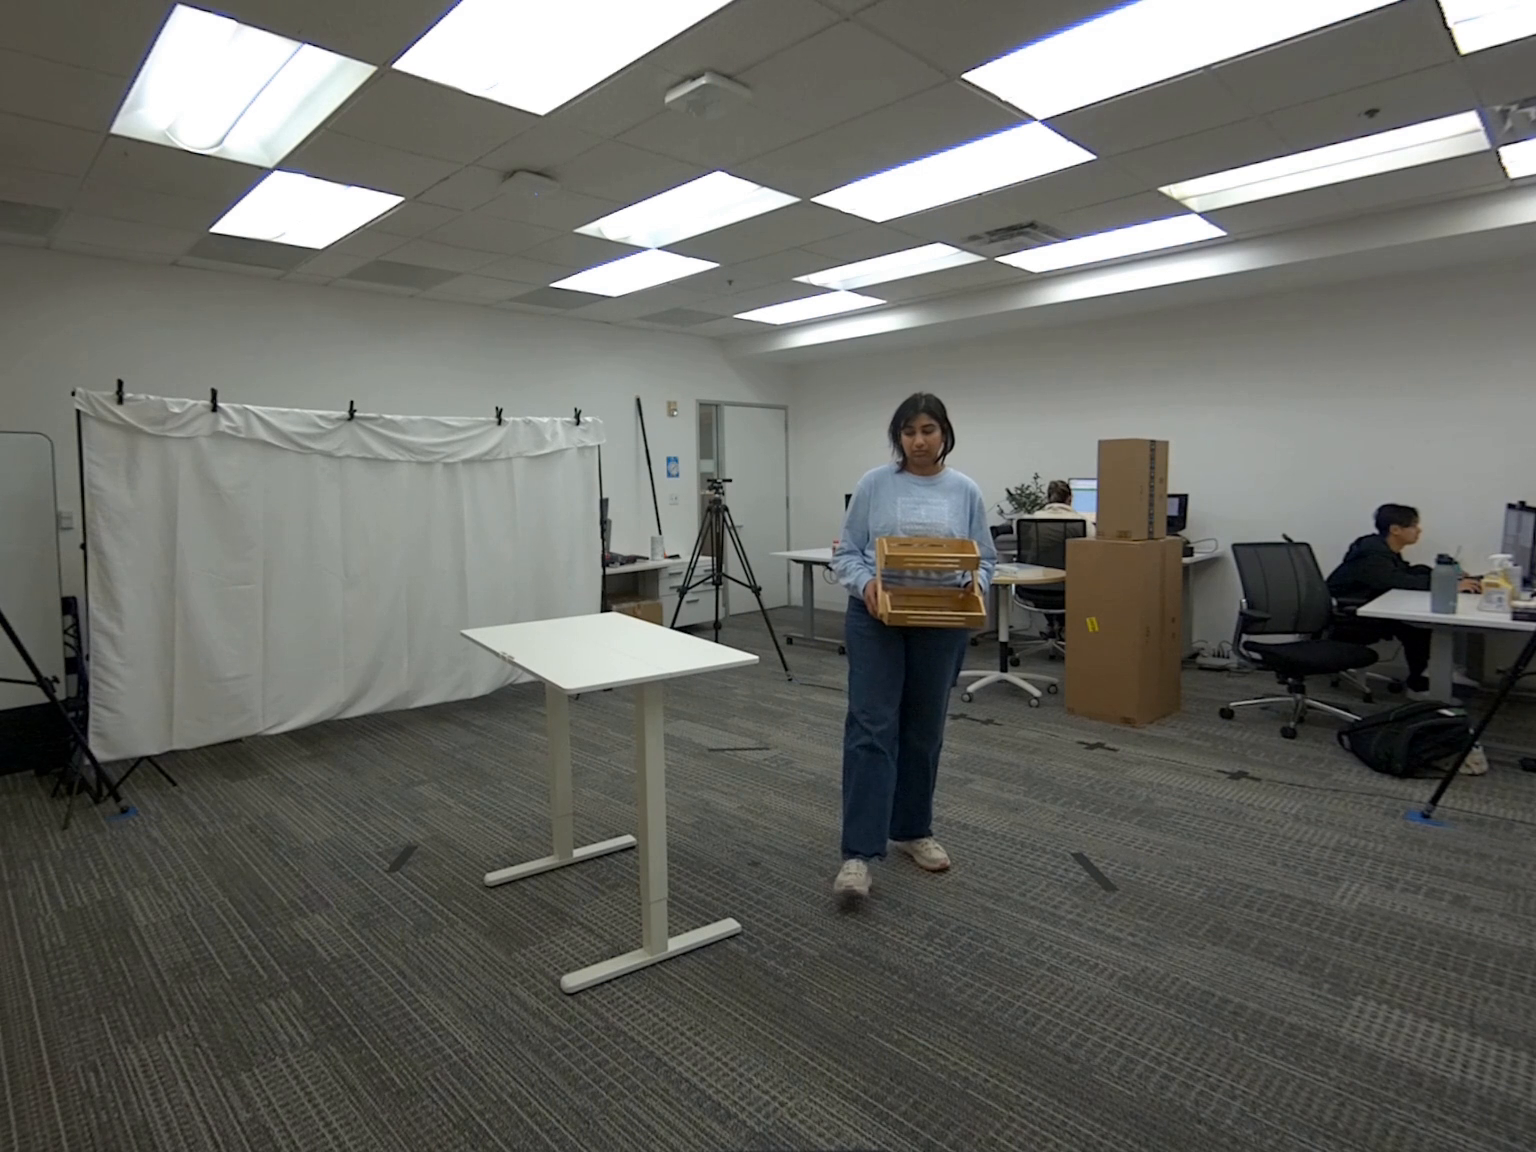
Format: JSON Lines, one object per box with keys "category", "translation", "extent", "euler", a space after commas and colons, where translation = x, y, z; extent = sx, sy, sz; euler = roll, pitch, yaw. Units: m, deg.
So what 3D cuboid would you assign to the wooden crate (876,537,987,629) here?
{"category": "wooden crate", "translation": [0.528, 0.010, 2.776], "extent": [0.325, 0.272, 0.302], "euler": [1, 4, 2]}
